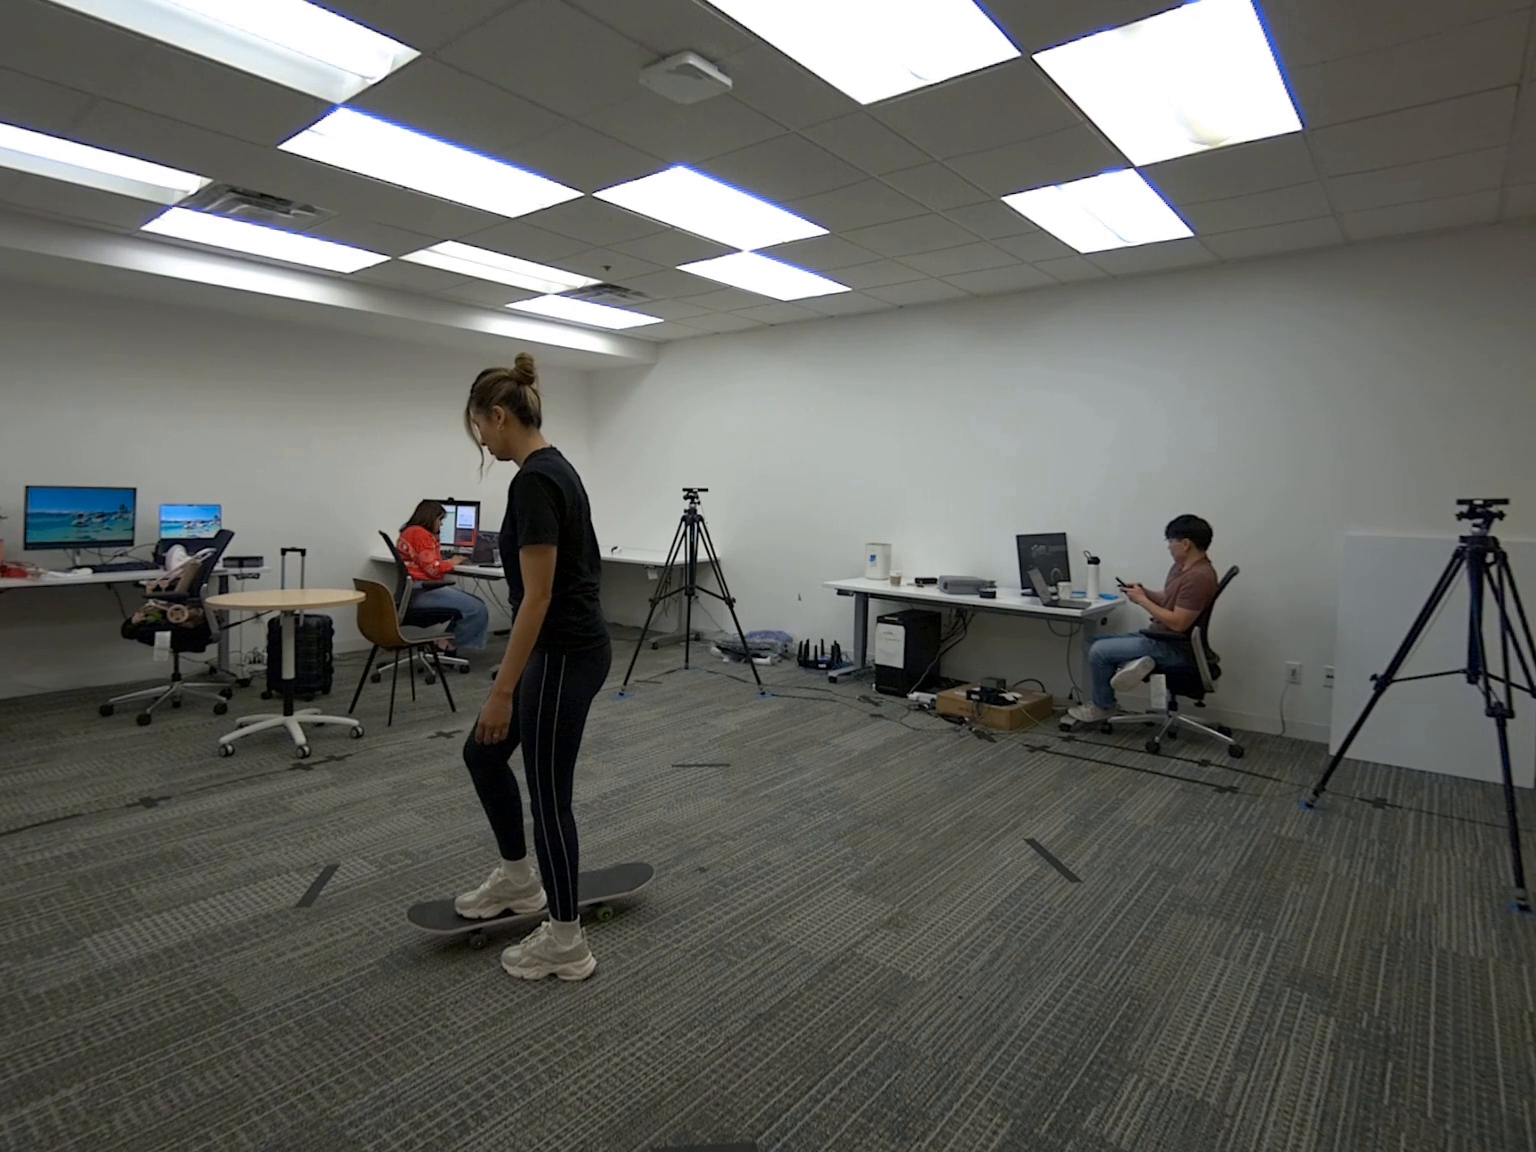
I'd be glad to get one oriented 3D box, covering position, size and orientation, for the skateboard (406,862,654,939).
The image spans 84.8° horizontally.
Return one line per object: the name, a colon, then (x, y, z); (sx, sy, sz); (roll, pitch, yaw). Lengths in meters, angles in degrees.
skateboard: (-0.733, 1.048, 2.706); (0.767, 0.110, 0.199); (-3, 7, -26)
